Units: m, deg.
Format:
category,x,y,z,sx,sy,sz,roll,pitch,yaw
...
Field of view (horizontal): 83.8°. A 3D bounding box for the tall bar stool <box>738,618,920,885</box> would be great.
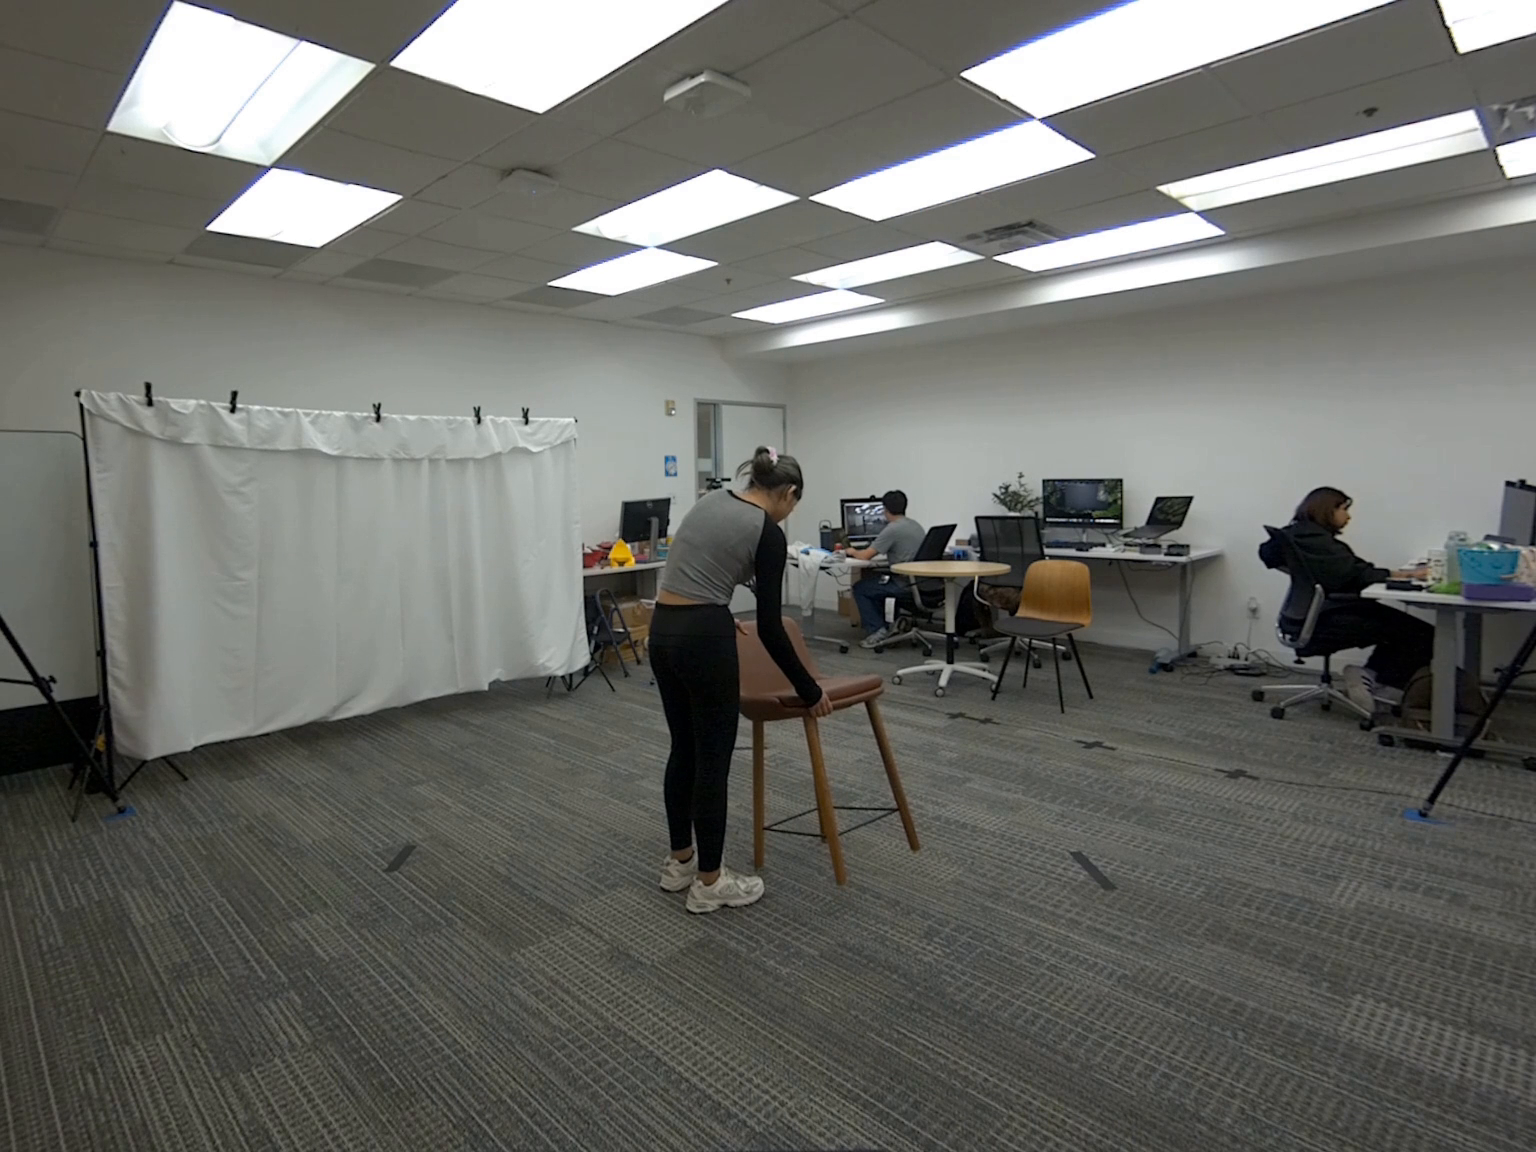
category,x,y,z,sx,sy,sz,roll,pitch,yaw
tall bar stool,0.164,0.569,3.065,0.444,0.898,0.476,-5,-10,-41
